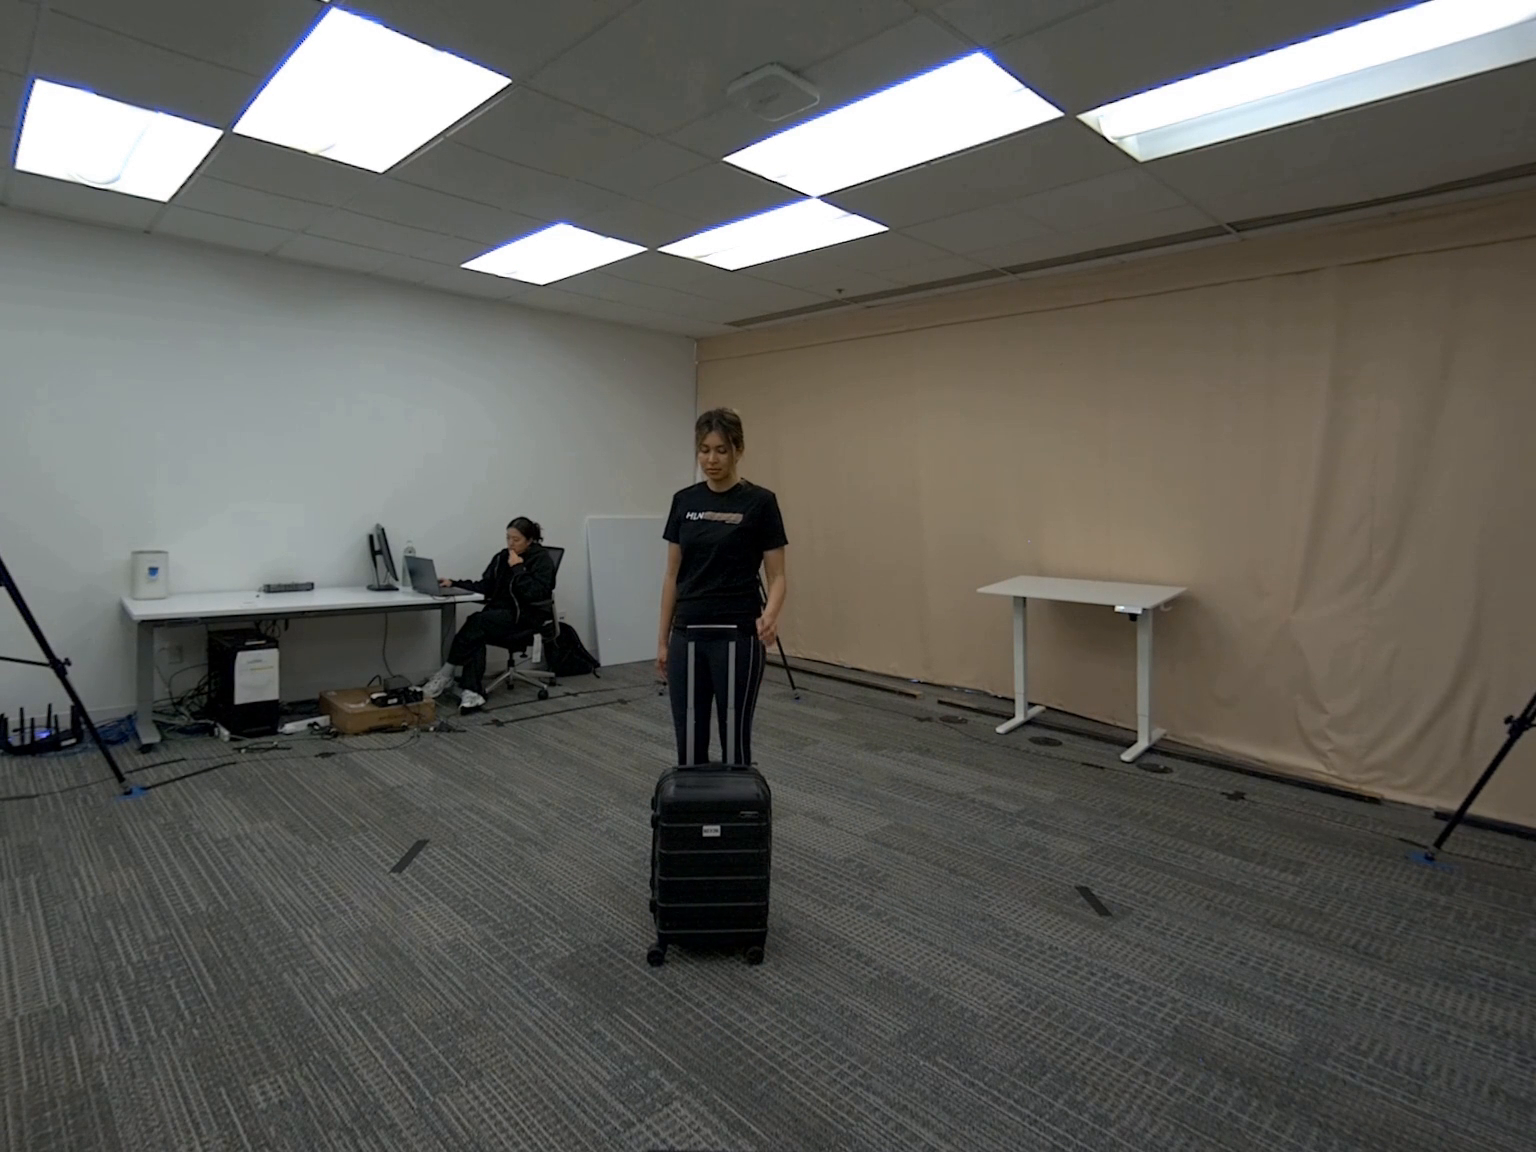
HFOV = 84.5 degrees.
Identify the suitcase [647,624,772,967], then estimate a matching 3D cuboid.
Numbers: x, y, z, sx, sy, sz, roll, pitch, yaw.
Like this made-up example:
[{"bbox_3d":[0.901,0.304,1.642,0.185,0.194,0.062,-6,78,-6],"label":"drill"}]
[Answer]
[{"bbox_3d":[-0.174,0.677,2.585,0.383,0.973,0.259,1,7,-4],"label":"suitcase"}]
